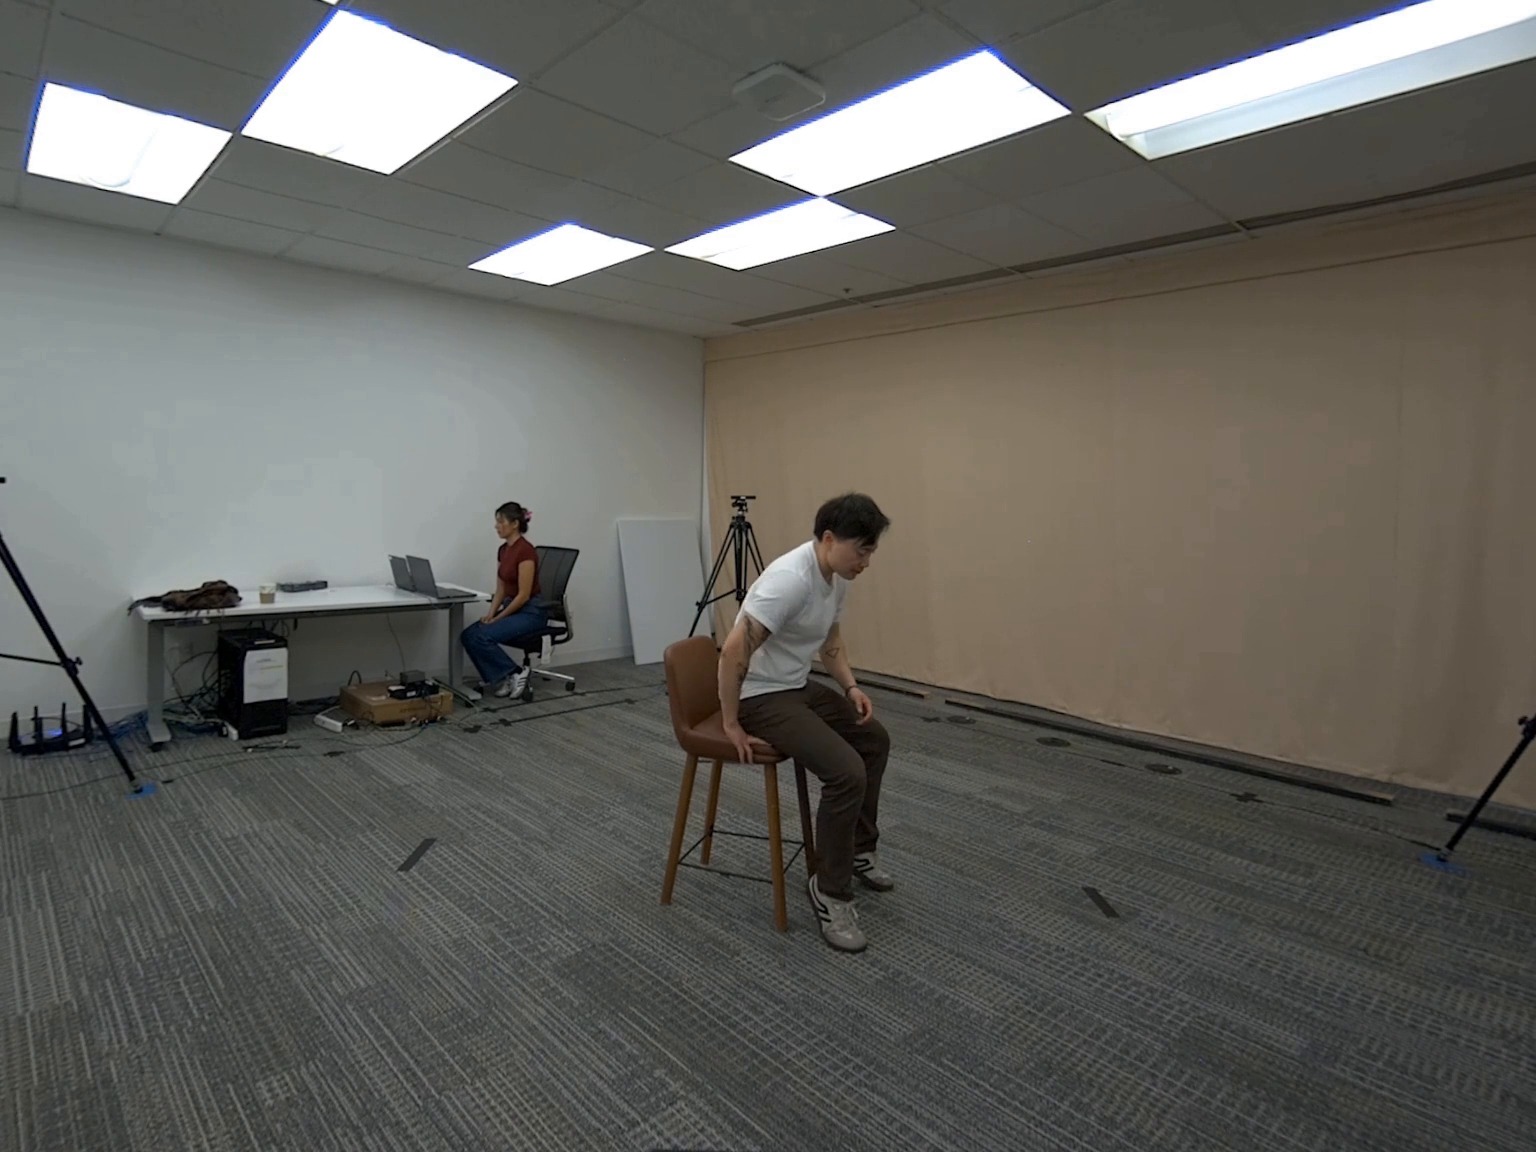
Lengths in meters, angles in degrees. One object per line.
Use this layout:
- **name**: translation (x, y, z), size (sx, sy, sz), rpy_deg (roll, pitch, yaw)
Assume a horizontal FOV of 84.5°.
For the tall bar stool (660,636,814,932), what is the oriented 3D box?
- **tall bar stool**: translation (-0.100, 0.686, 2.943), size (0.475, 0.888, 0.450), rpy_deg (1, 4, 21)
